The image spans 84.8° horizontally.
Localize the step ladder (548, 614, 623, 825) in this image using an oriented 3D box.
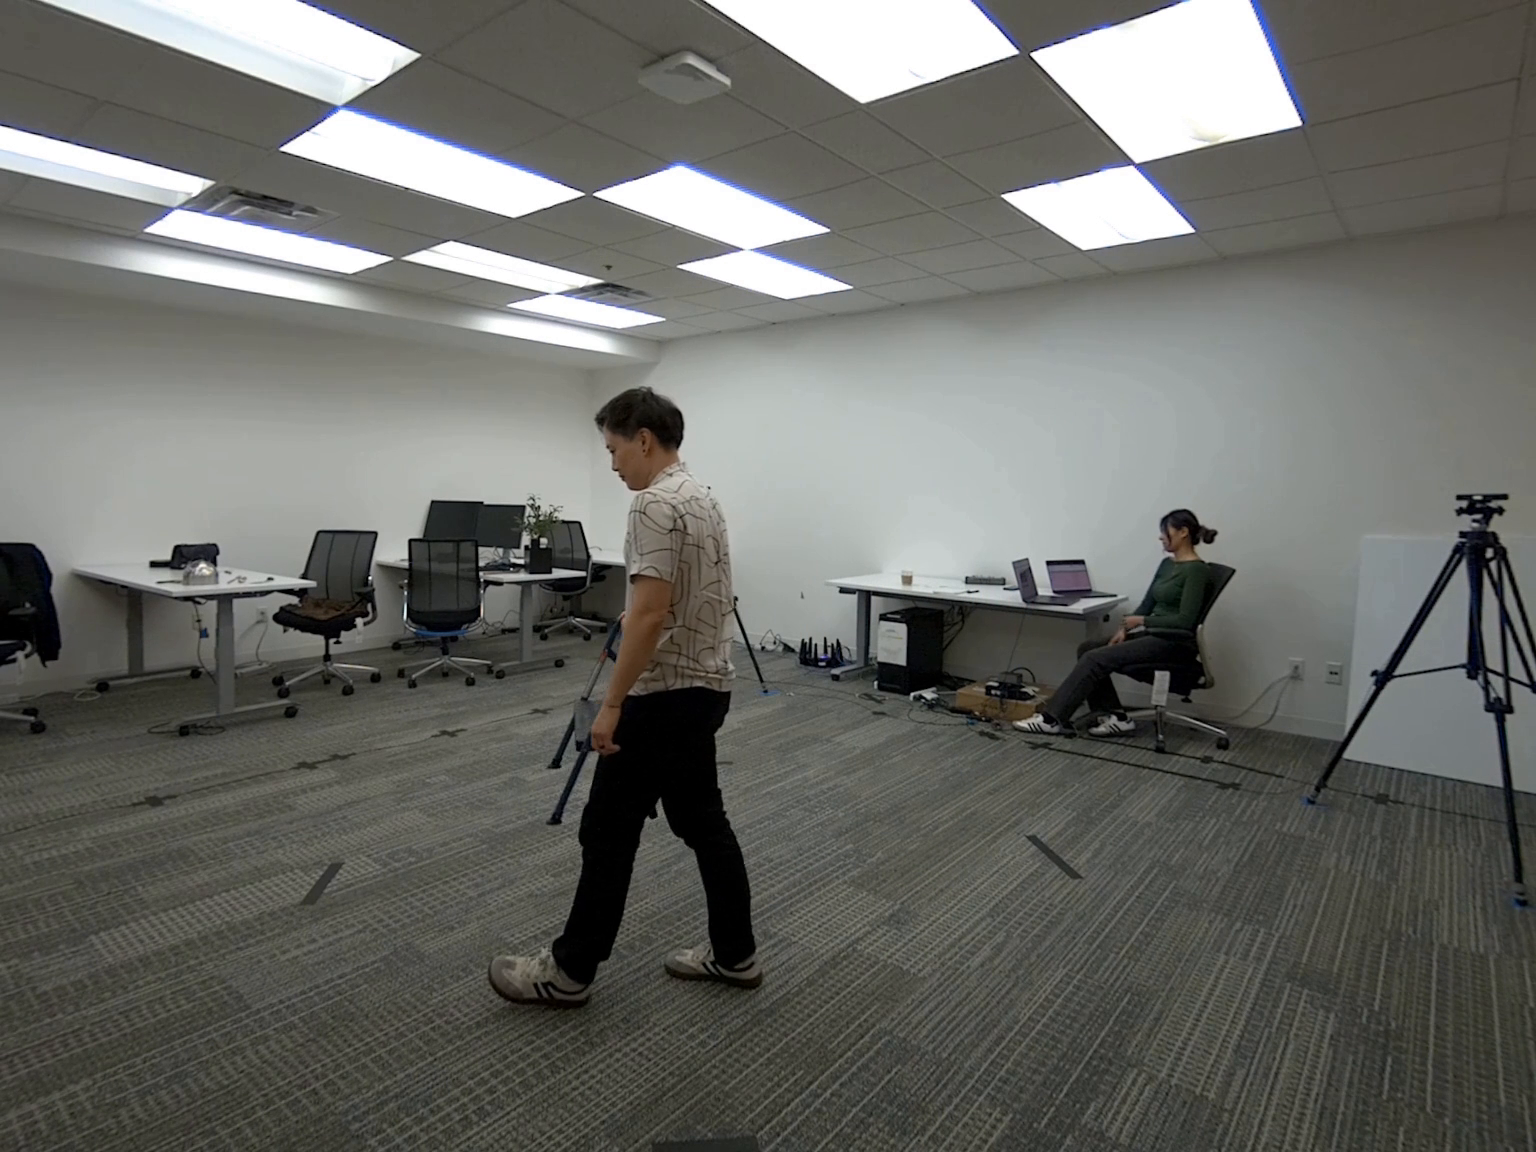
[{"bbox_3d":[-0.551,0.441,2.839,0.345,0.600,0.440,1,11,-13],"label":"step ladder"}]
